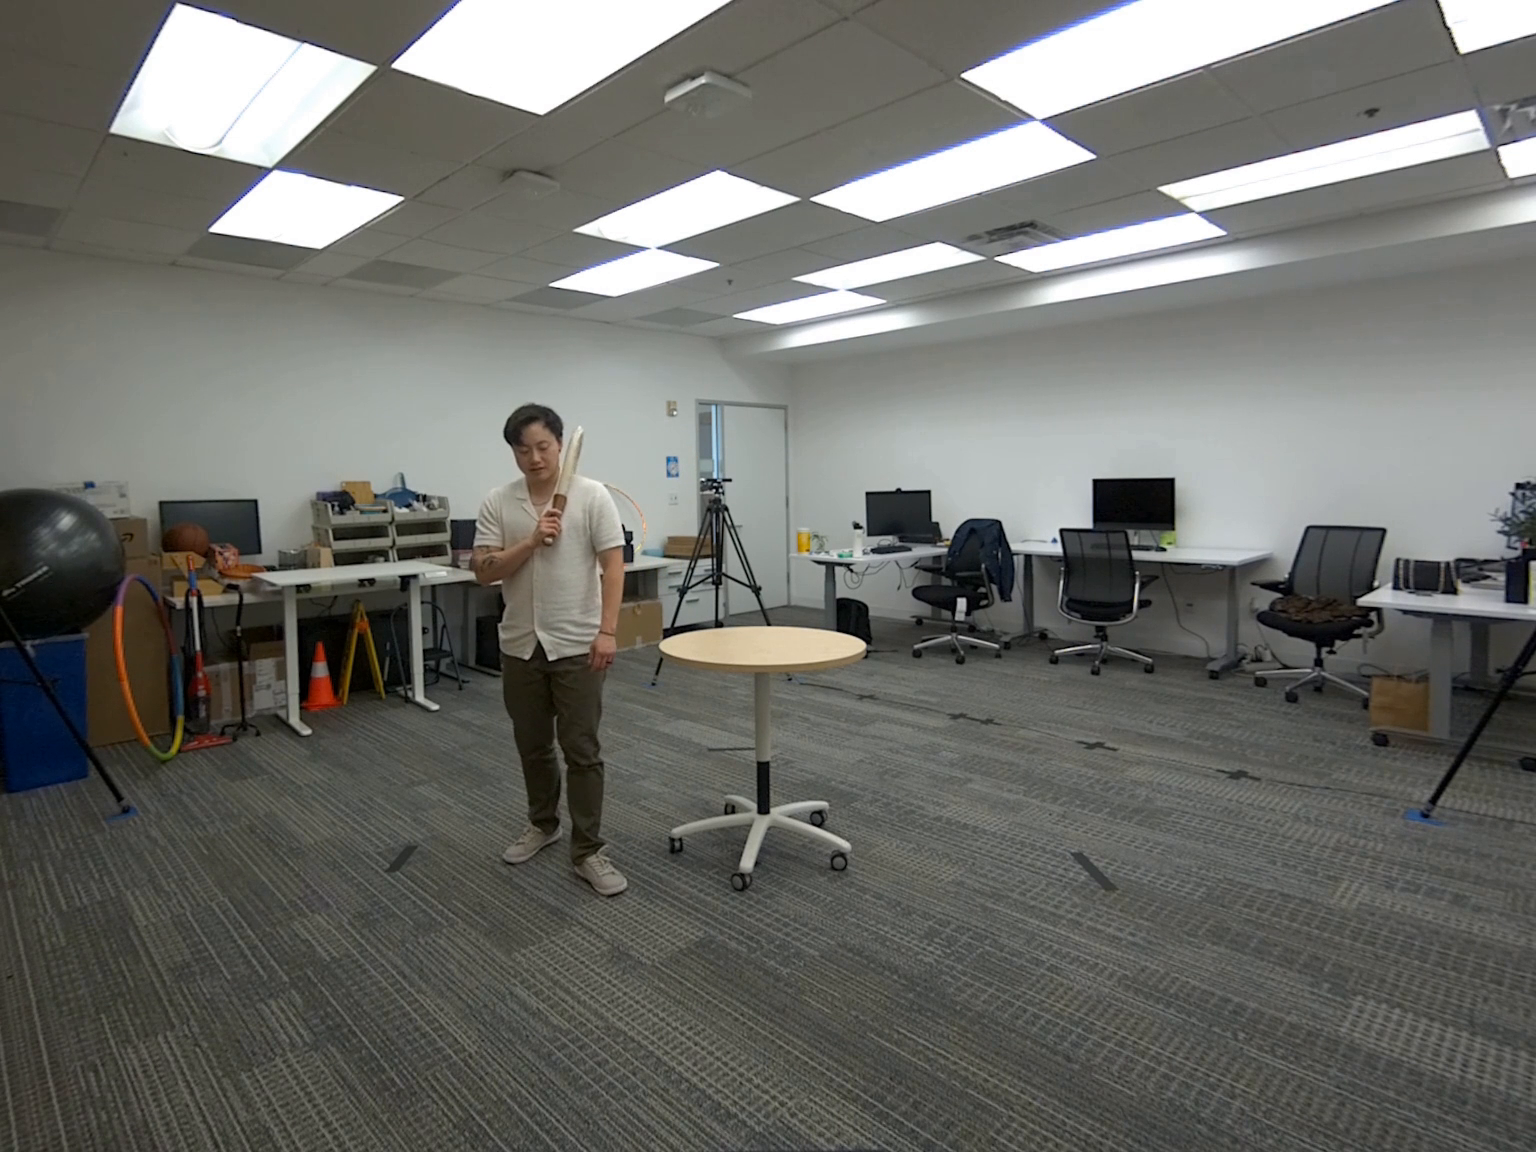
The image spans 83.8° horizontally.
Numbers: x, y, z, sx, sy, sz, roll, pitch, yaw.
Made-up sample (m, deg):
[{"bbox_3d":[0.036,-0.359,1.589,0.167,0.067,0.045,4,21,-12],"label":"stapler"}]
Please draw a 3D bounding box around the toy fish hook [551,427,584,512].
[{"bbox_3d":[-0.728,-0.302,3.057,0.048,0.516,0.221,10,-30,-5],"label":"toy fish hook"}]
